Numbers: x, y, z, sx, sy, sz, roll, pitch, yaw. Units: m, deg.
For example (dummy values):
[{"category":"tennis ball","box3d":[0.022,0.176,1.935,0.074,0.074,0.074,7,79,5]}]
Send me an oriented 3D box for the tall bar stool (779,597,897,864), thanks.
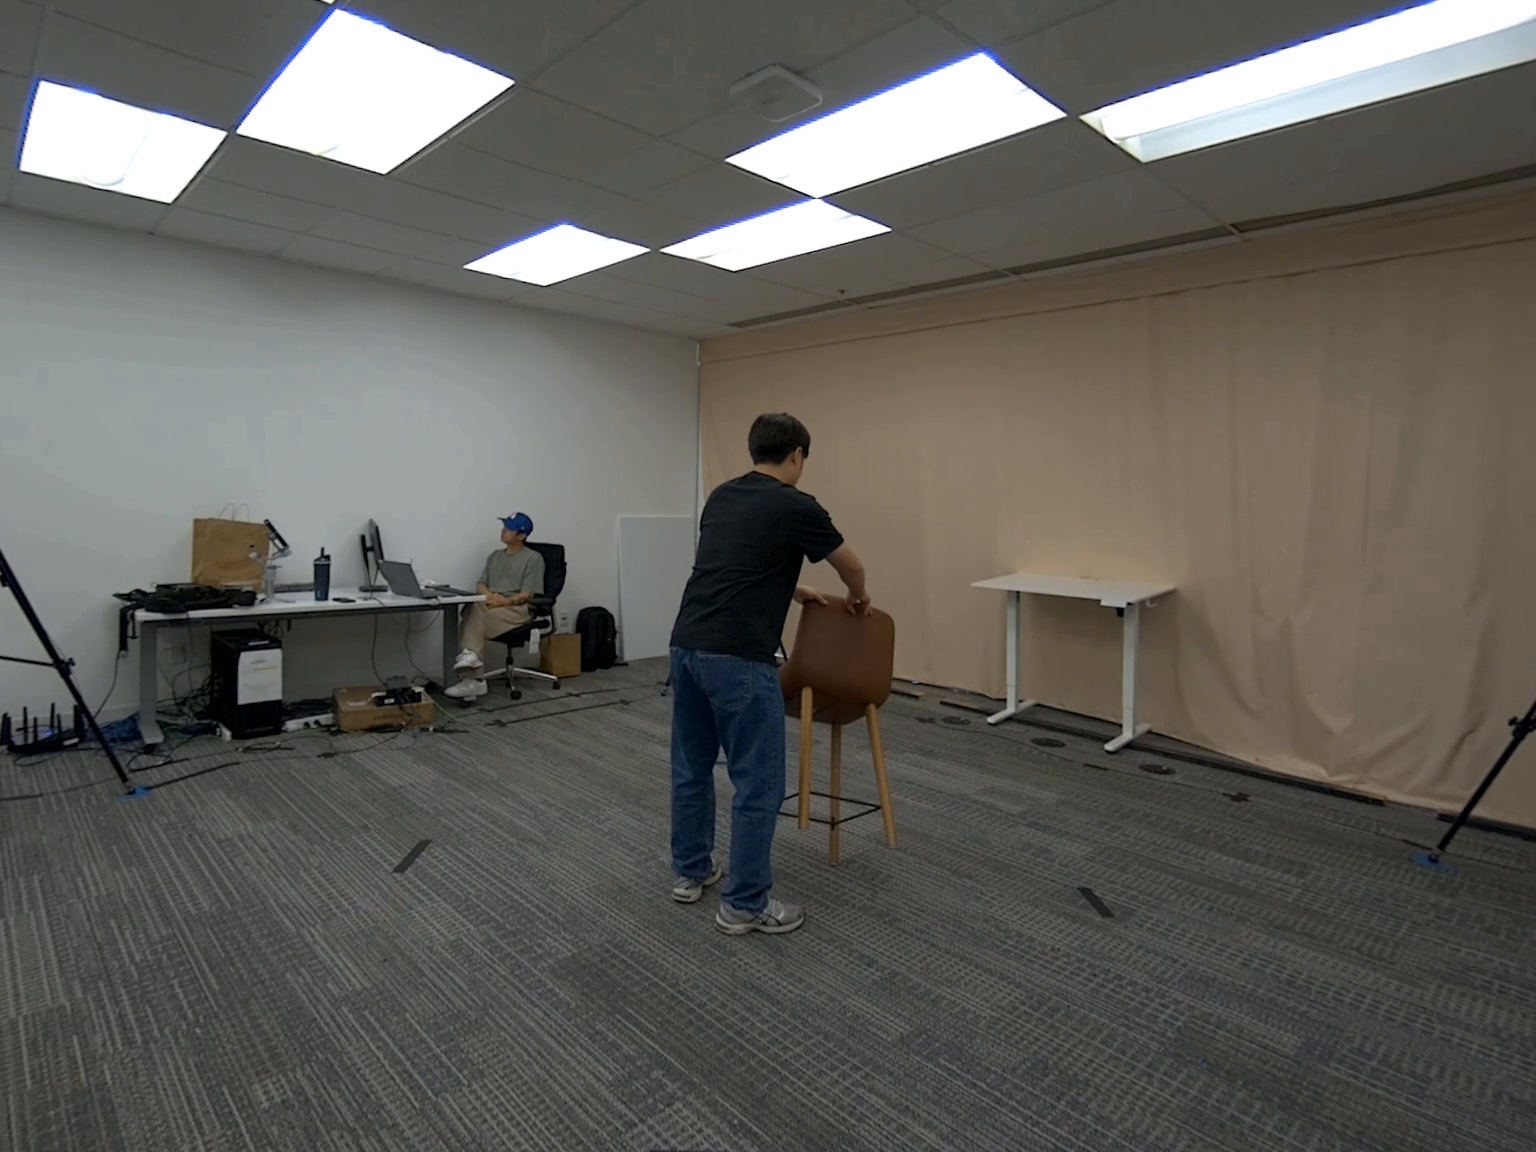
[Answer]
[{"category":"tall bar stool","box3d":[0.207,0.583,3.202,0.448,0.904,0.468,16,-30,-21]}]
